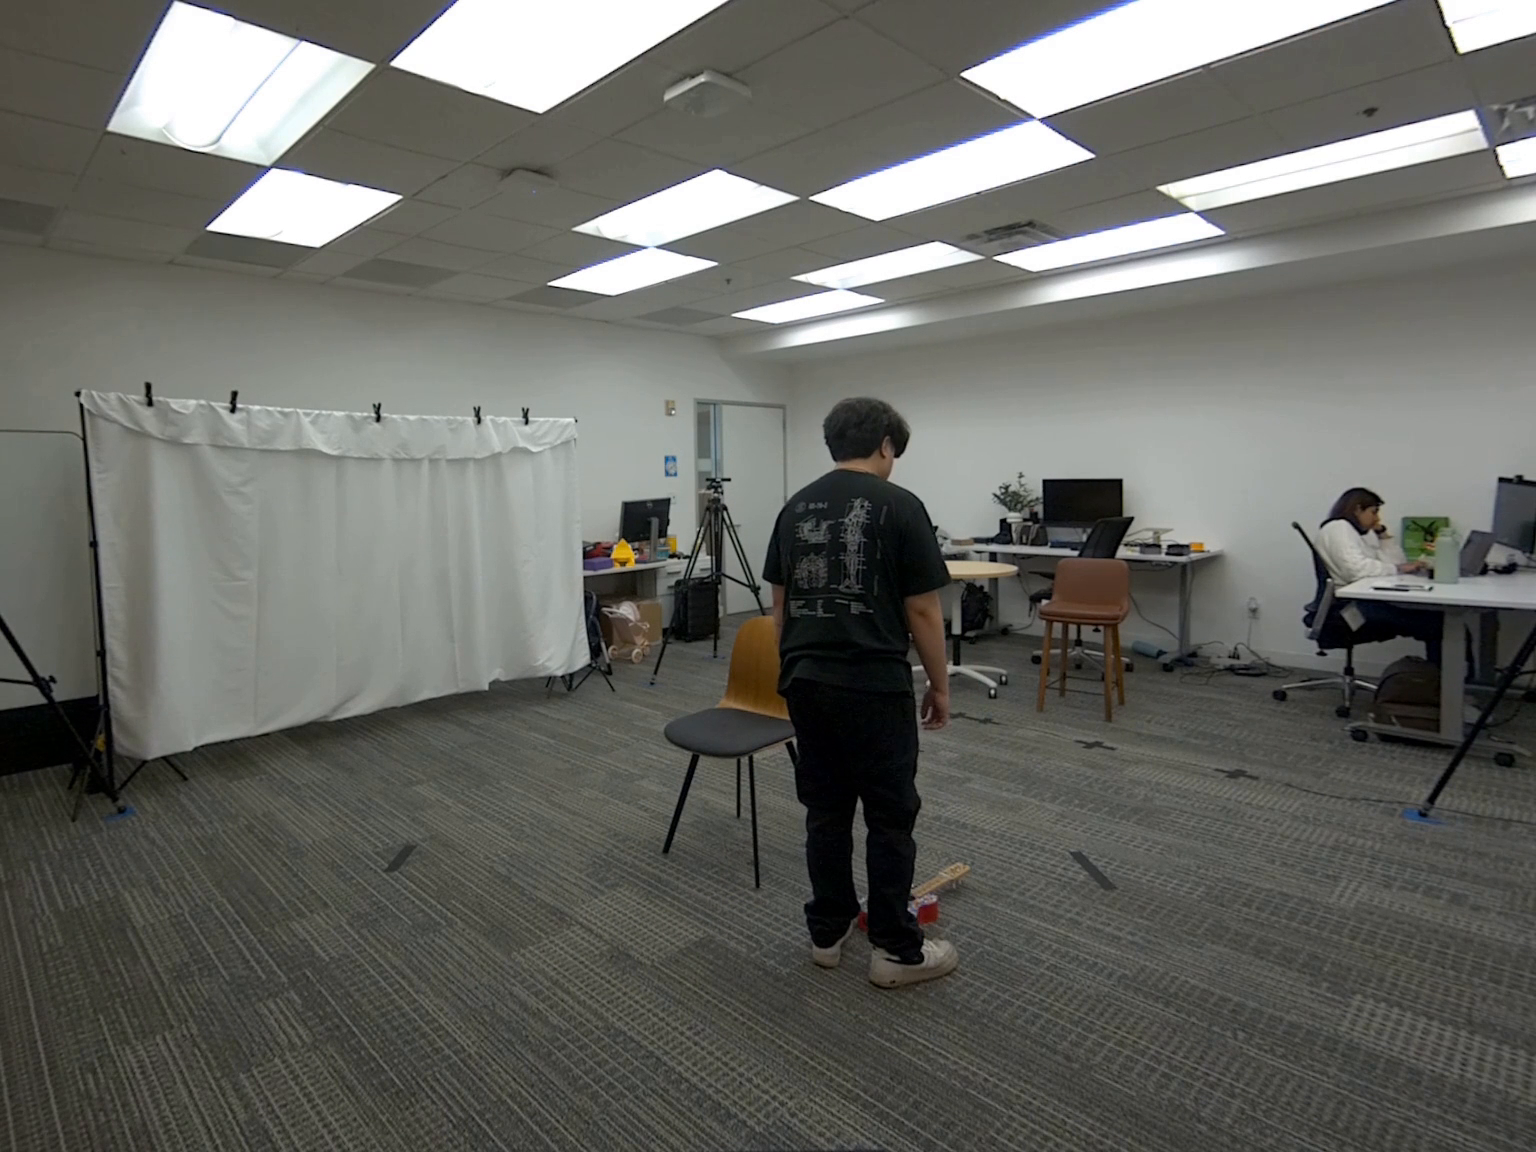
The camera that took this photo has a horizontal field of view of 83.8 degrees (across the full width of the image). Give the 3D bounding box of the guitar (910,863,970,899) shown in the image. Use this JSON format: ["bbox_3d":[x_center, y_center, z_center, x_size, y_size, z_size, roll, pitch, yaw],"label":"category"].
[{"bbox_3d":[0.520,1.041,2.731,0.486,0.070,0.198,-5,7,-33],"label":"guitar"}]
